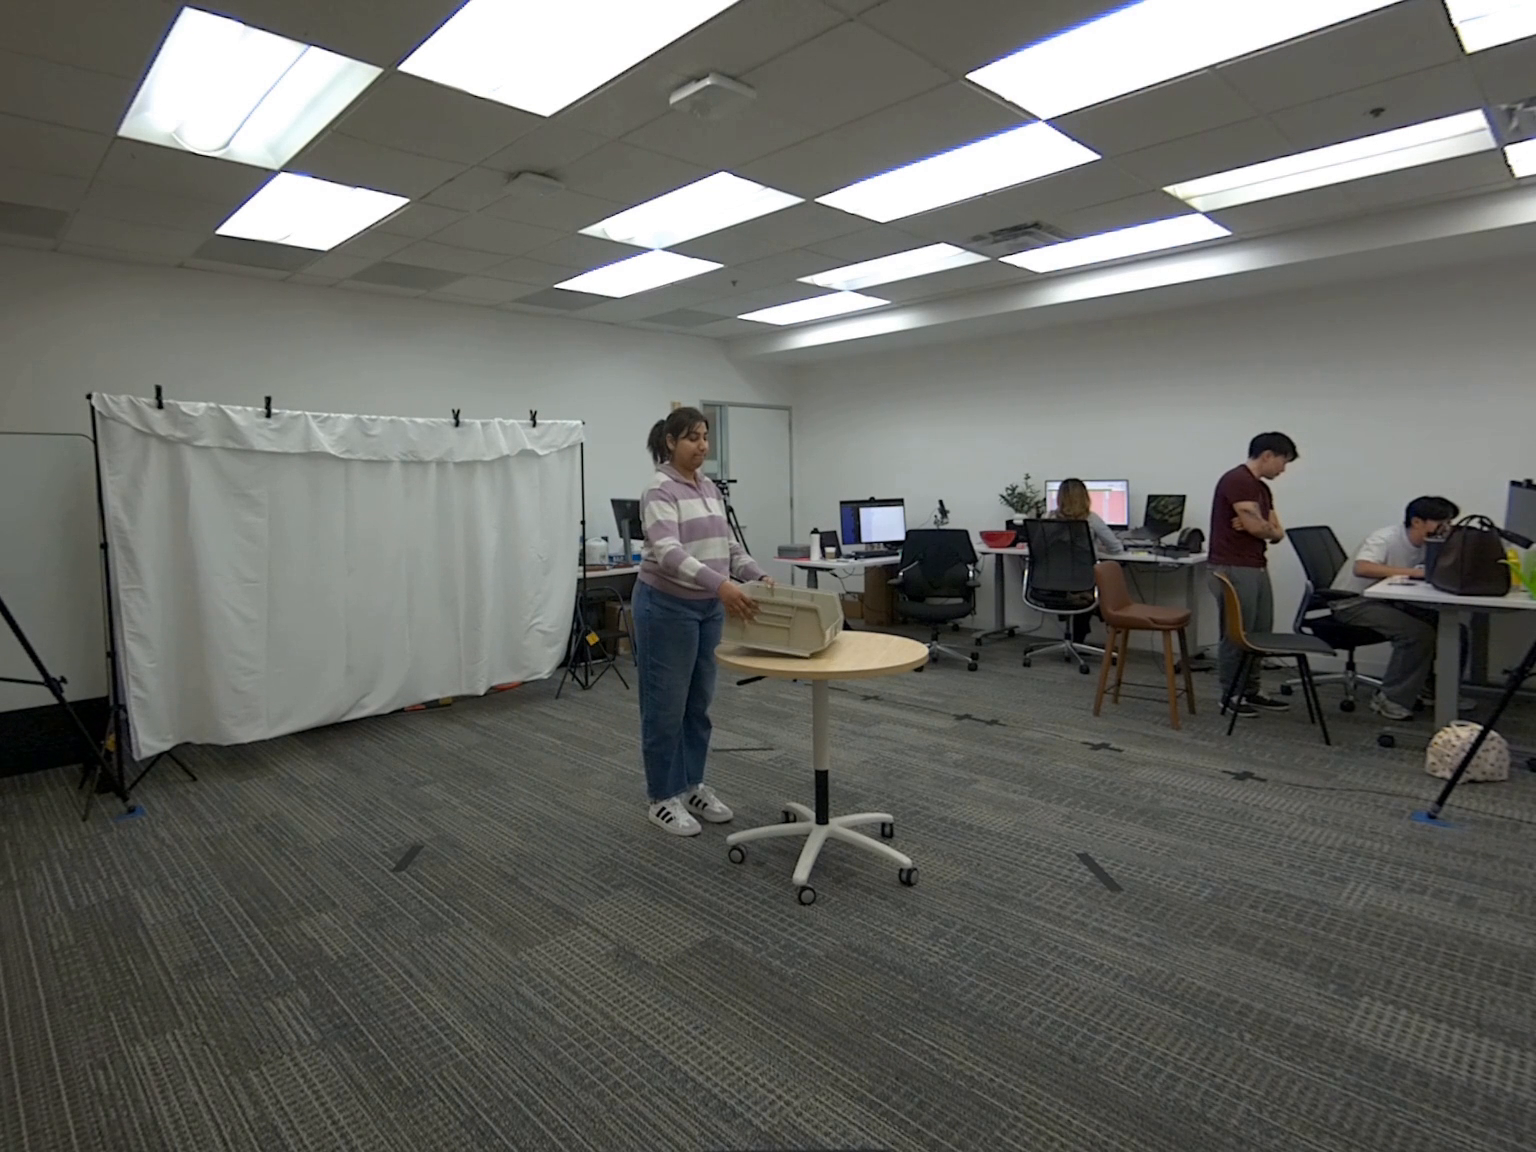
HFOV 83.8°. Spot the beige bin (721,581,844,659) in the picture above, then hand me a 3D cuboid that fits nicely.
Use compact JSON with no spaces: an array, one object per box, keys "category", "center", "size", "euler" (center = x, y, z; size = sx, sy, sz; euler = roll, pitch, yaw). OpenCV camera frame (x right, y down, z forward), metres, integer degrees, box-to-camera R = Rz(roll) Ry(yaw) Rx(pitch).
[{"category":"beige bin","center":[0.064,0.143,3.110],"size":[0.383,0.188,0.418],"euler":[3,6,14]}]
